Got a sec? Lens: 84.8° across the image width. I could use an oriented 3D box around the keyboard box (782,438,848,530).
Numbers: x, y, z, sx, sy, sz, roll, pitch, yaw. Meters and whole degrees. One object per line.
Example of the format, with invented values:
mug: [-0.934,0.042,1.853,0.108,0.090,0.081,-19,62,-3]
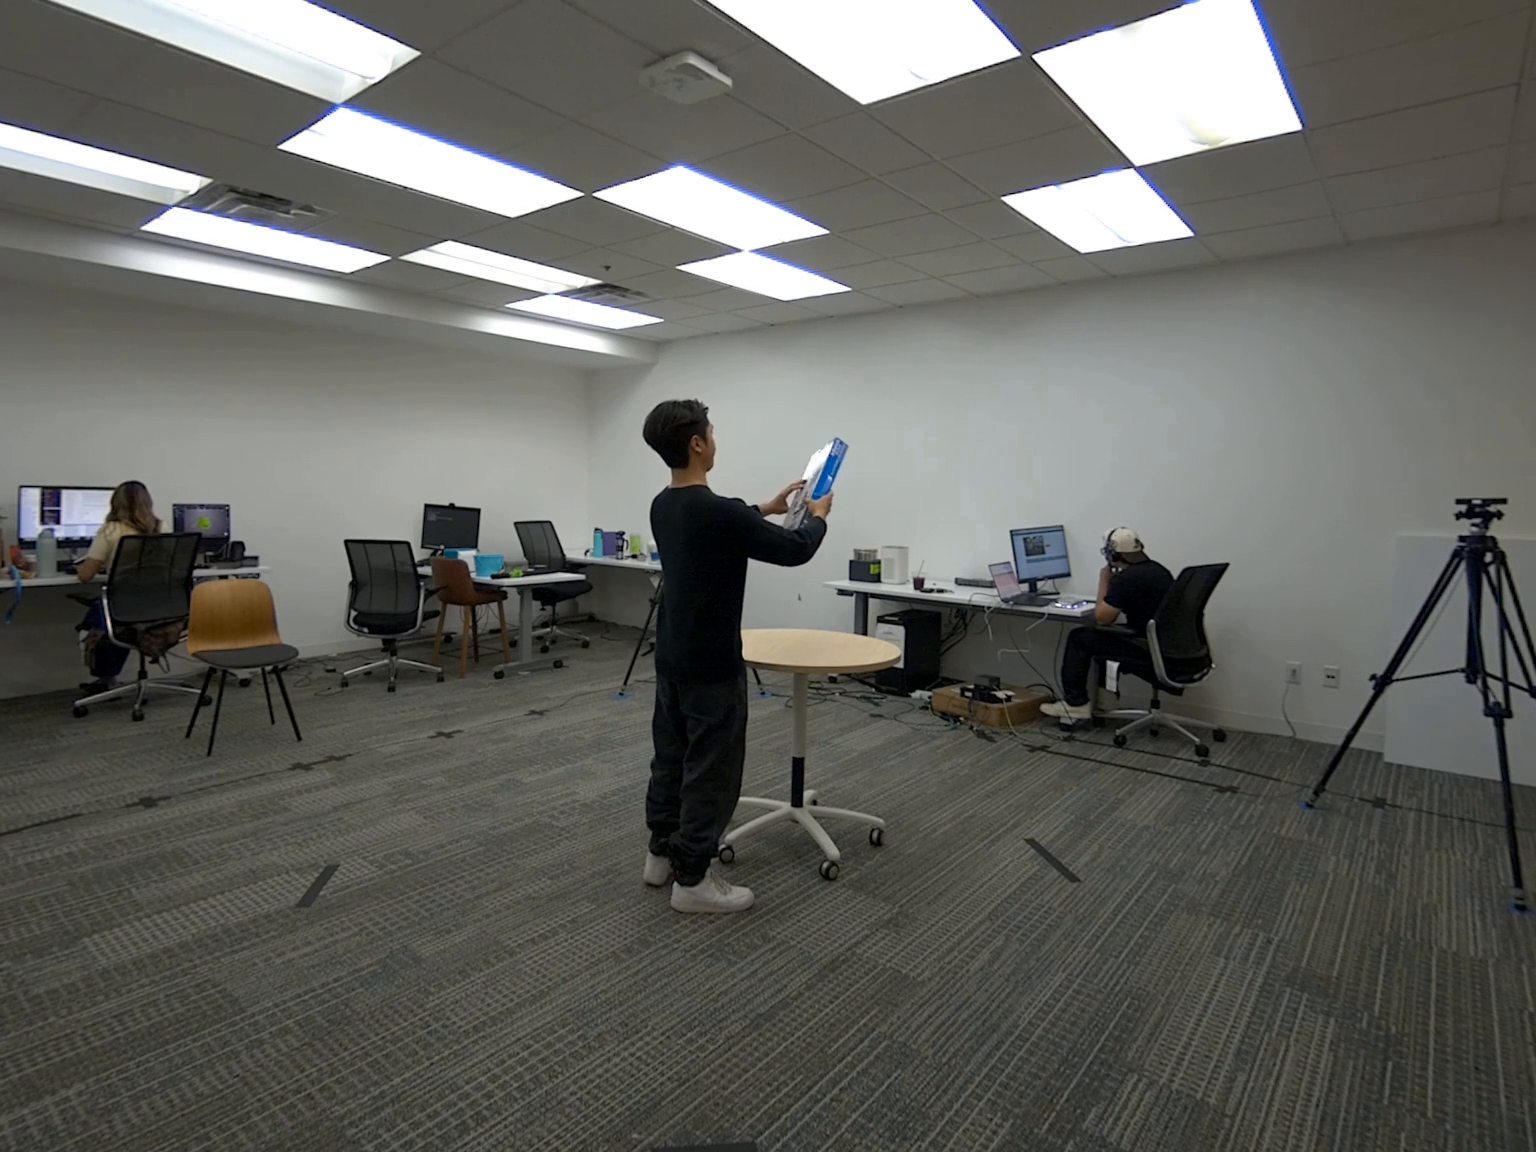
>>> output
keyboard box: [0.153,-0.303,3.092,0.058,0.442,0.177,31,-33,-15]
